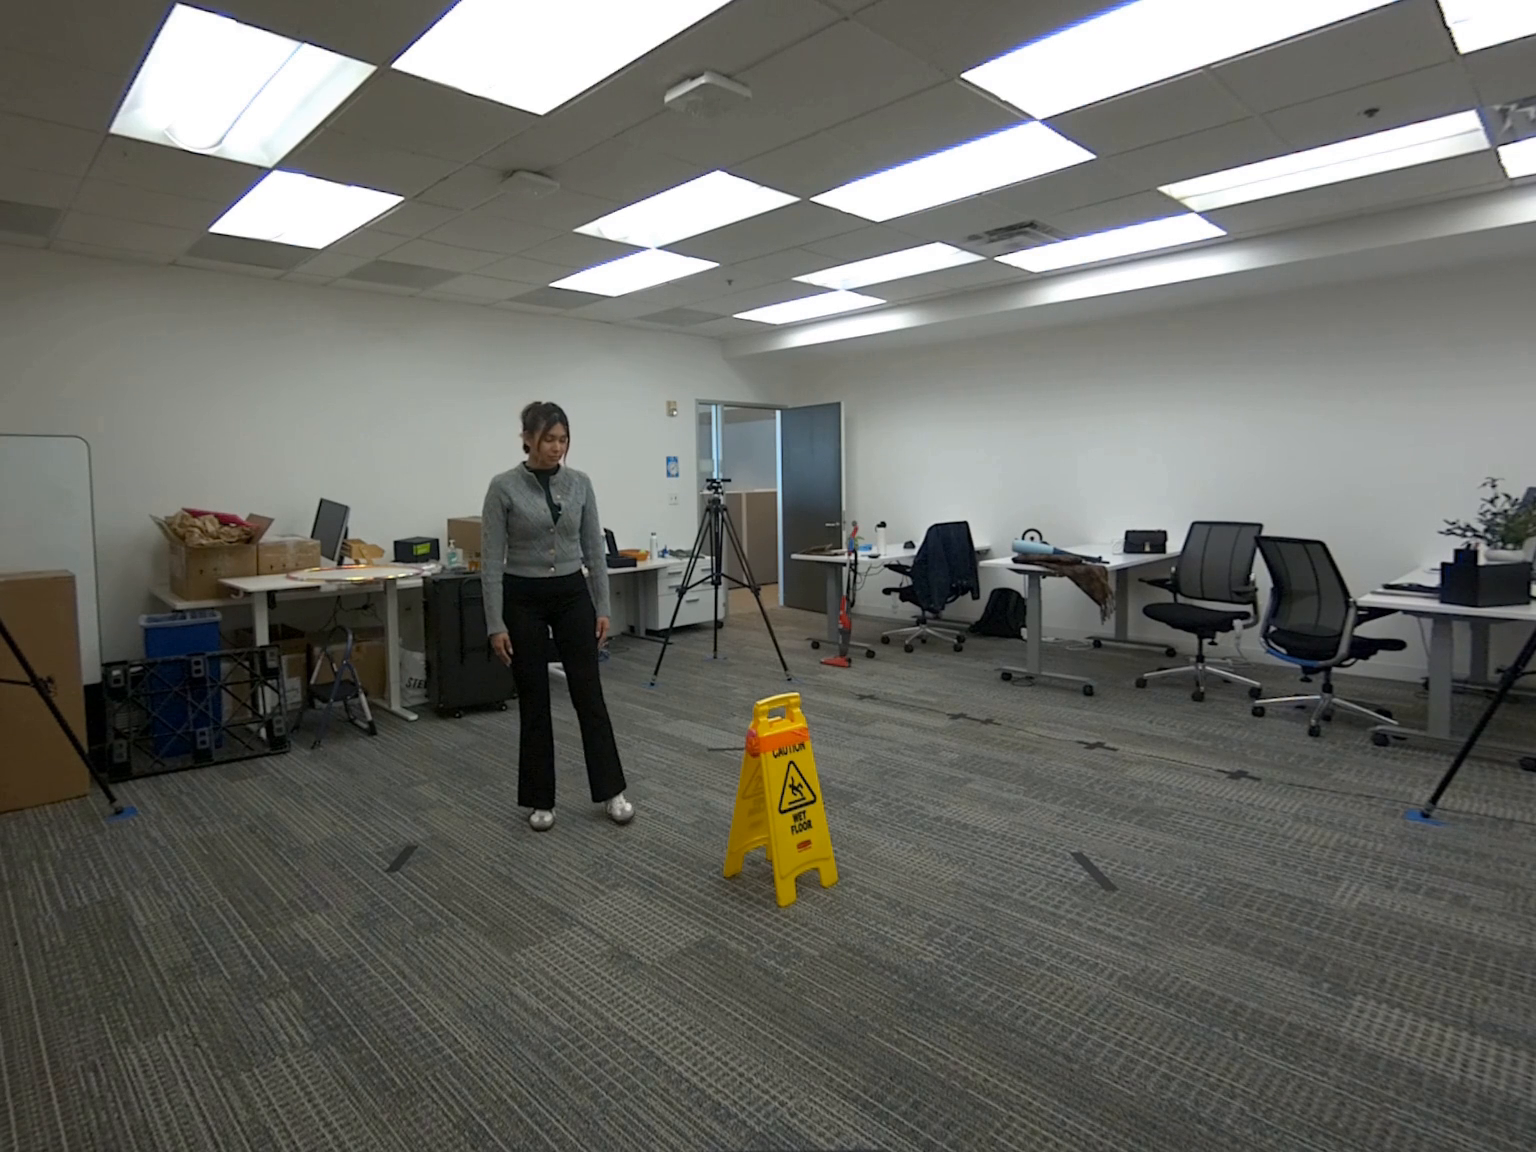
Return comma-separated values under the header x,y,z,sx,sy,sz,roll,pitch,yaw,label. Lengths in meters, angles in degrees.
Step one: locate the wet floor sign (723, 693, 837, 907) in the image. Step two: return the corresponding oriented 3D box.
x,y,z,sx,sy,sz,roll,pitch,yaw,label
0.041,0.736,2.959,0.275,0.643,0.298,-5,6,-41,wet floor sign
